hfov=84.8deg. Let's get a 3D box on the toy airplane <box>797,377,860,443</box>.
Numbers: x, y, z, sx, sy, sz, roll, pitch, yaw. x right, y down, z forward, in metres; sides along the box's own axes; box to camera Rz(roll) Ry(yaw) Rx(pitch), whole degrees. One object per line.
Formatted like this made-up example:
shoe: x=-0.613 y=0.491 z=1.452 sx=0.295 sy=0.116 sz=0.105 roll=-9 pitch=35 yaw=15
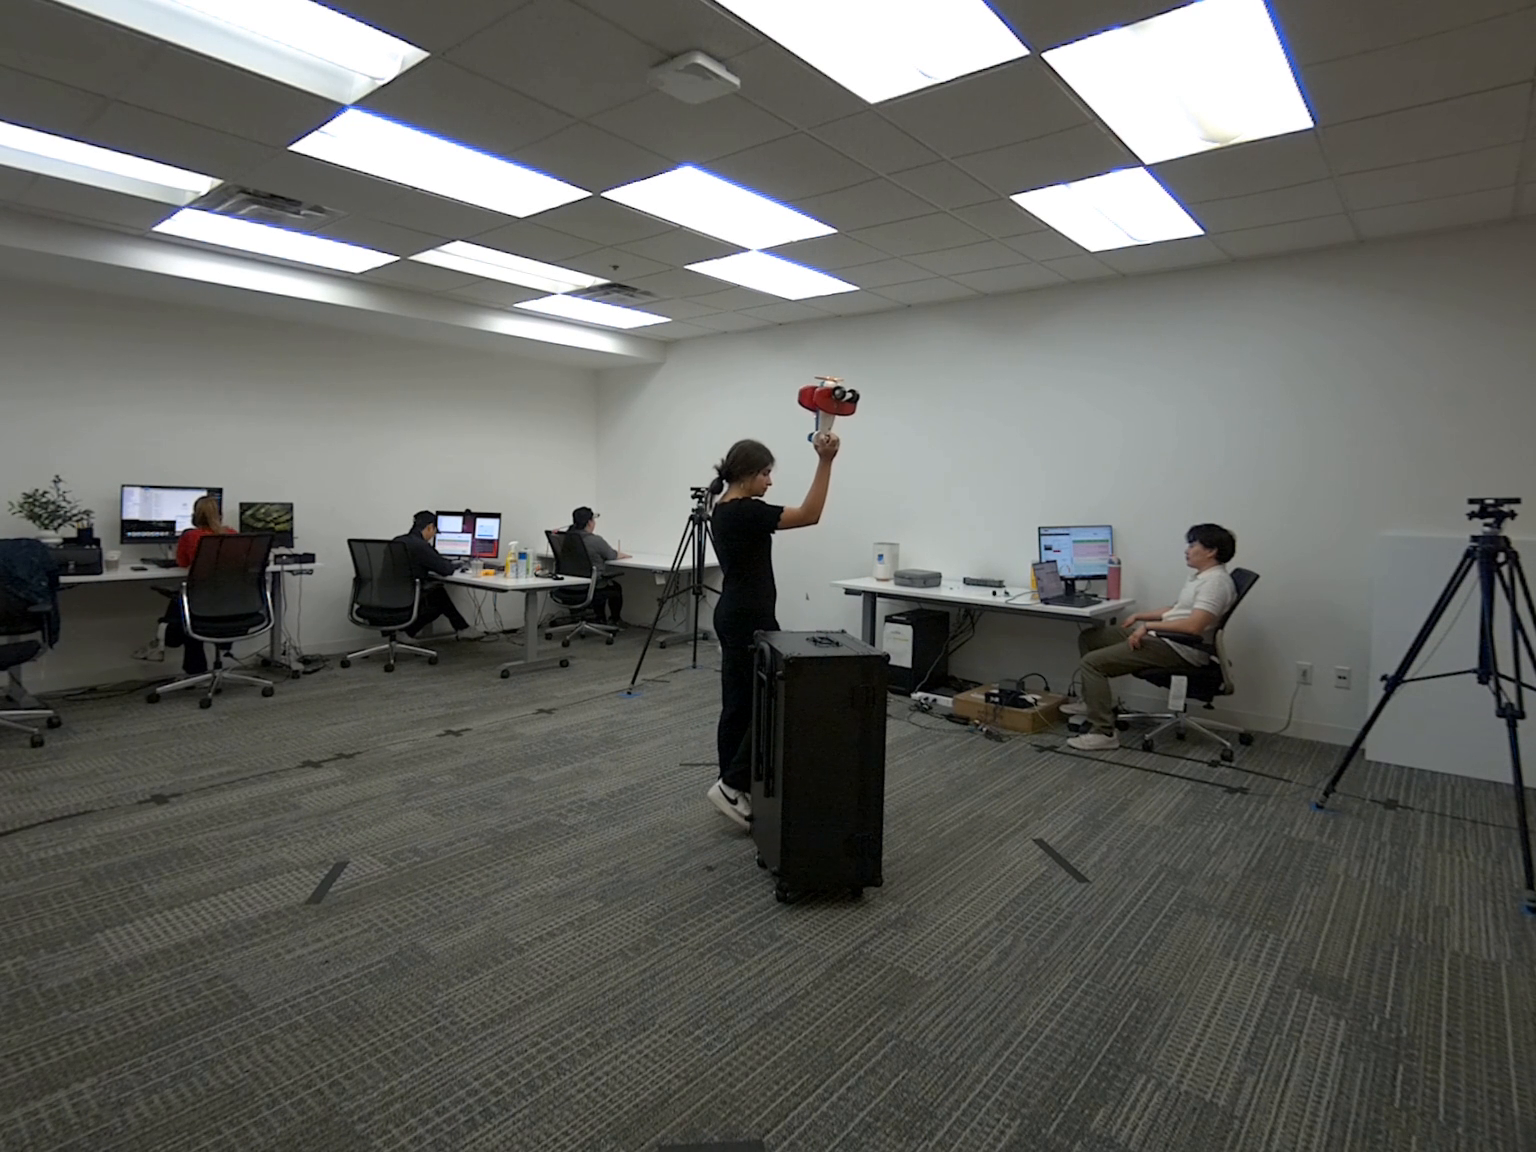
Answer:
toy airplane: x=0.213 y=-0.631 z=3.235 sx=0.163 sy=0.259 sz=0.240 roll=33 pitch=-7 yaw=40
